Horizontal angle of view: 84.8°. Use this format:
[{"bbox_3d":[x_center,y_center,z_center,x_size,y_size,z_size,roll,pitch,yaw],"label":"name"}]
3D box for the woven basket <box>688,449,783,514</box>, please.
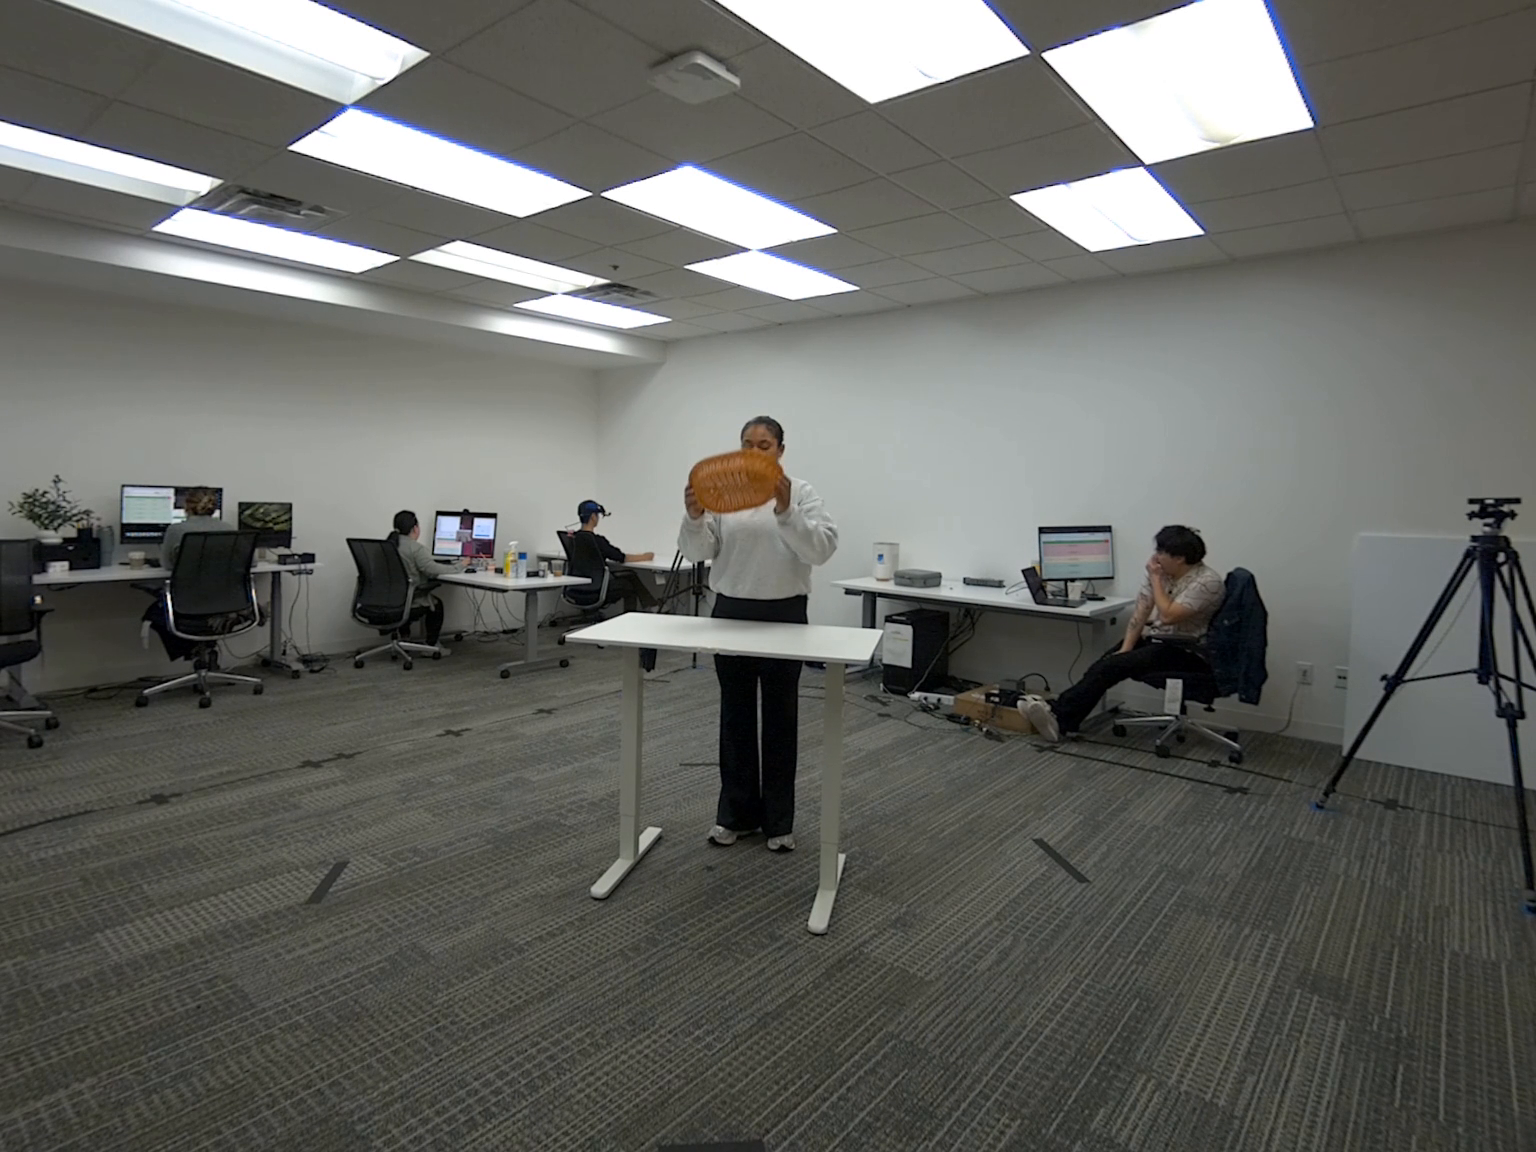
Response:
[{"bbox_3d":[-0.118,-0.306,2.998,0.355,0.243,0.075,-16,35,20],"label":"woven basket"}]
